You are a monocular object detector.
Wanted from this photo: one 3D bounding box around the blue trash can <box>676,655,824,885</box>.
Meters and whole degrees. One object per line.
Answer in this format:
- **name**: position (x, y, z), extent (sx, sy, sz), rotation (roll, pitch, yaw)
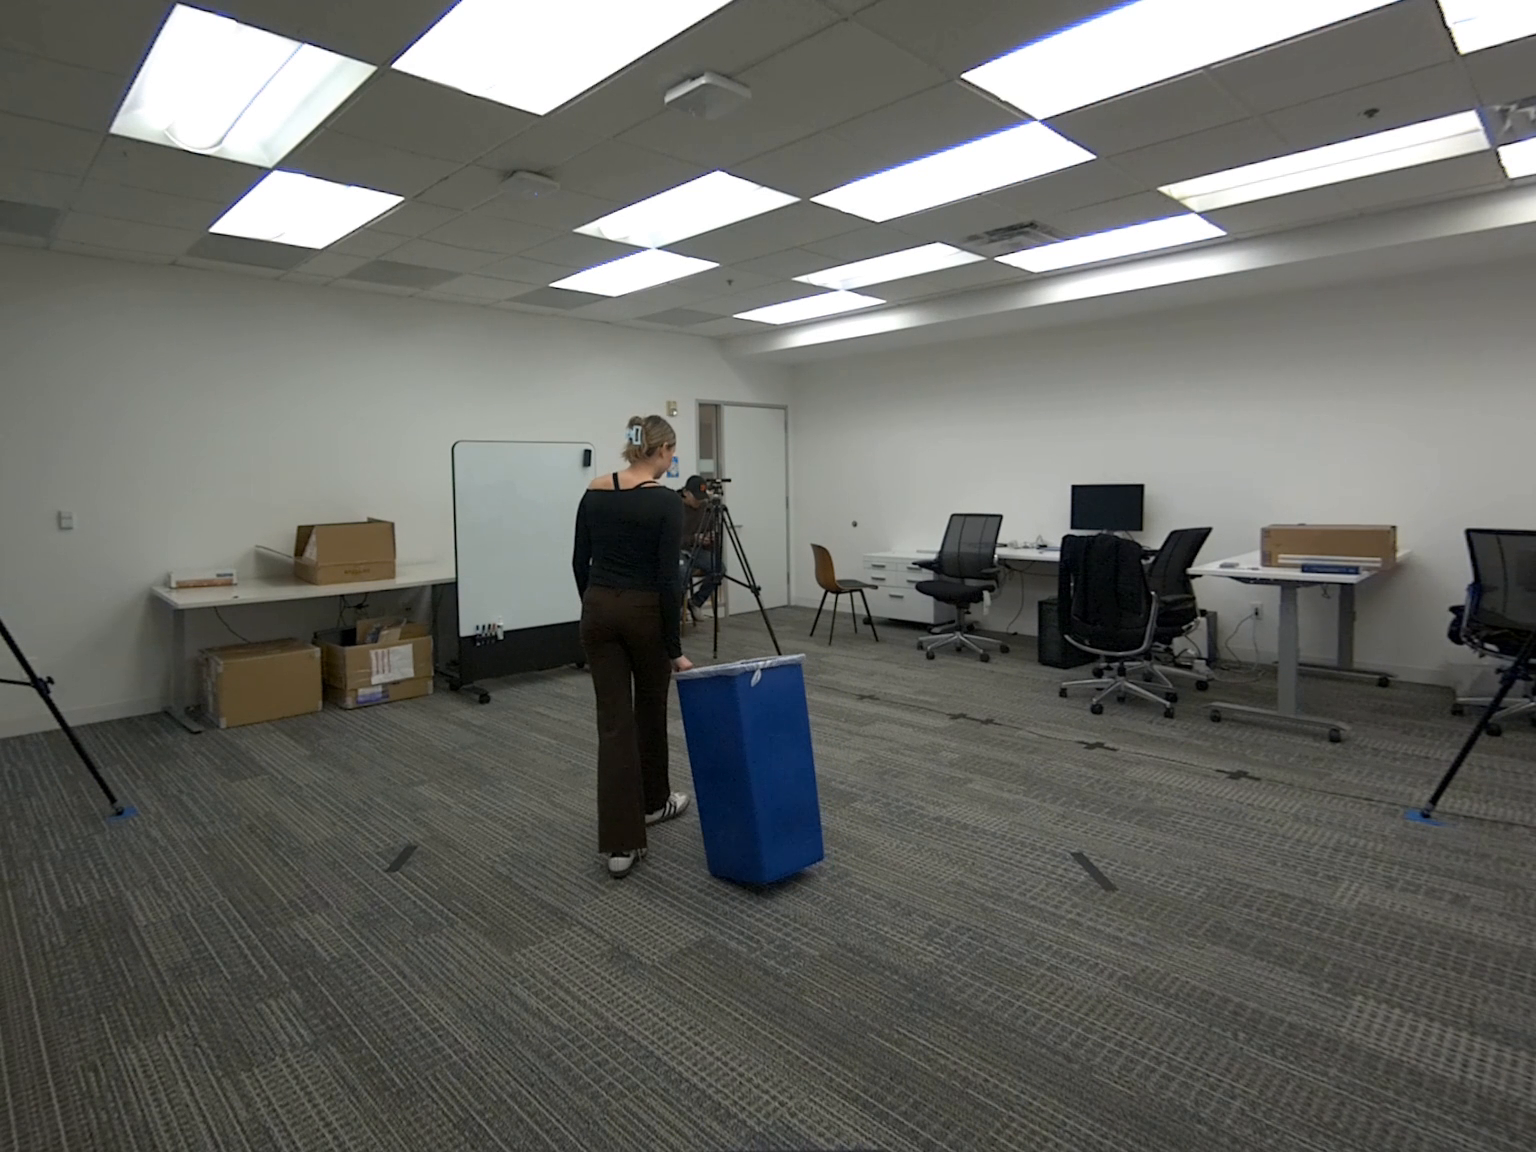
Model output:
- **blue trash can**: position (-0.065, 0.671, 3.050), extent (0.367, 0.718, 0.382), rotation (-2, -8, -42)
